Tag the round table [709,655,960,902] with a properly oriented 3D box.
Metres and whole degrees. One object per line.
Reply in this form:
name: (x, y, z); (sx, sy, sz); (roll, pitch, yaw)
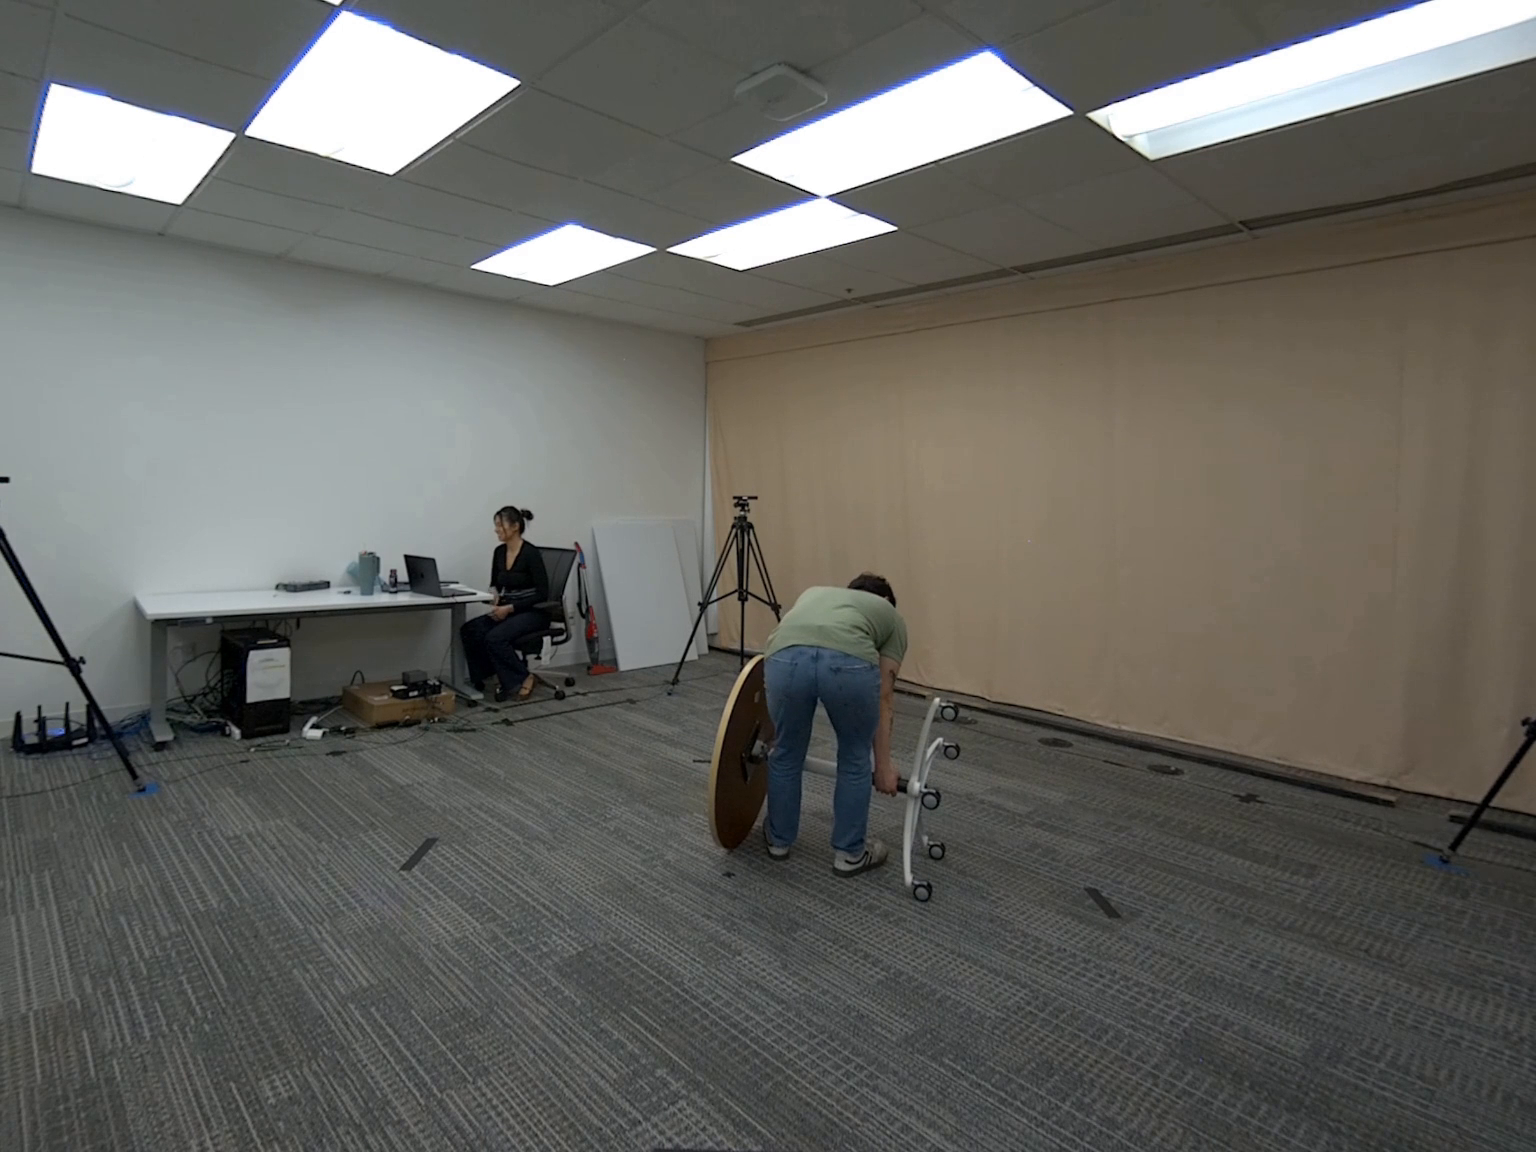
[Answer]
round table: (0.285, 0.755, 3.243); (0.807, 0.761, 0.754); (9, 6, 19)
